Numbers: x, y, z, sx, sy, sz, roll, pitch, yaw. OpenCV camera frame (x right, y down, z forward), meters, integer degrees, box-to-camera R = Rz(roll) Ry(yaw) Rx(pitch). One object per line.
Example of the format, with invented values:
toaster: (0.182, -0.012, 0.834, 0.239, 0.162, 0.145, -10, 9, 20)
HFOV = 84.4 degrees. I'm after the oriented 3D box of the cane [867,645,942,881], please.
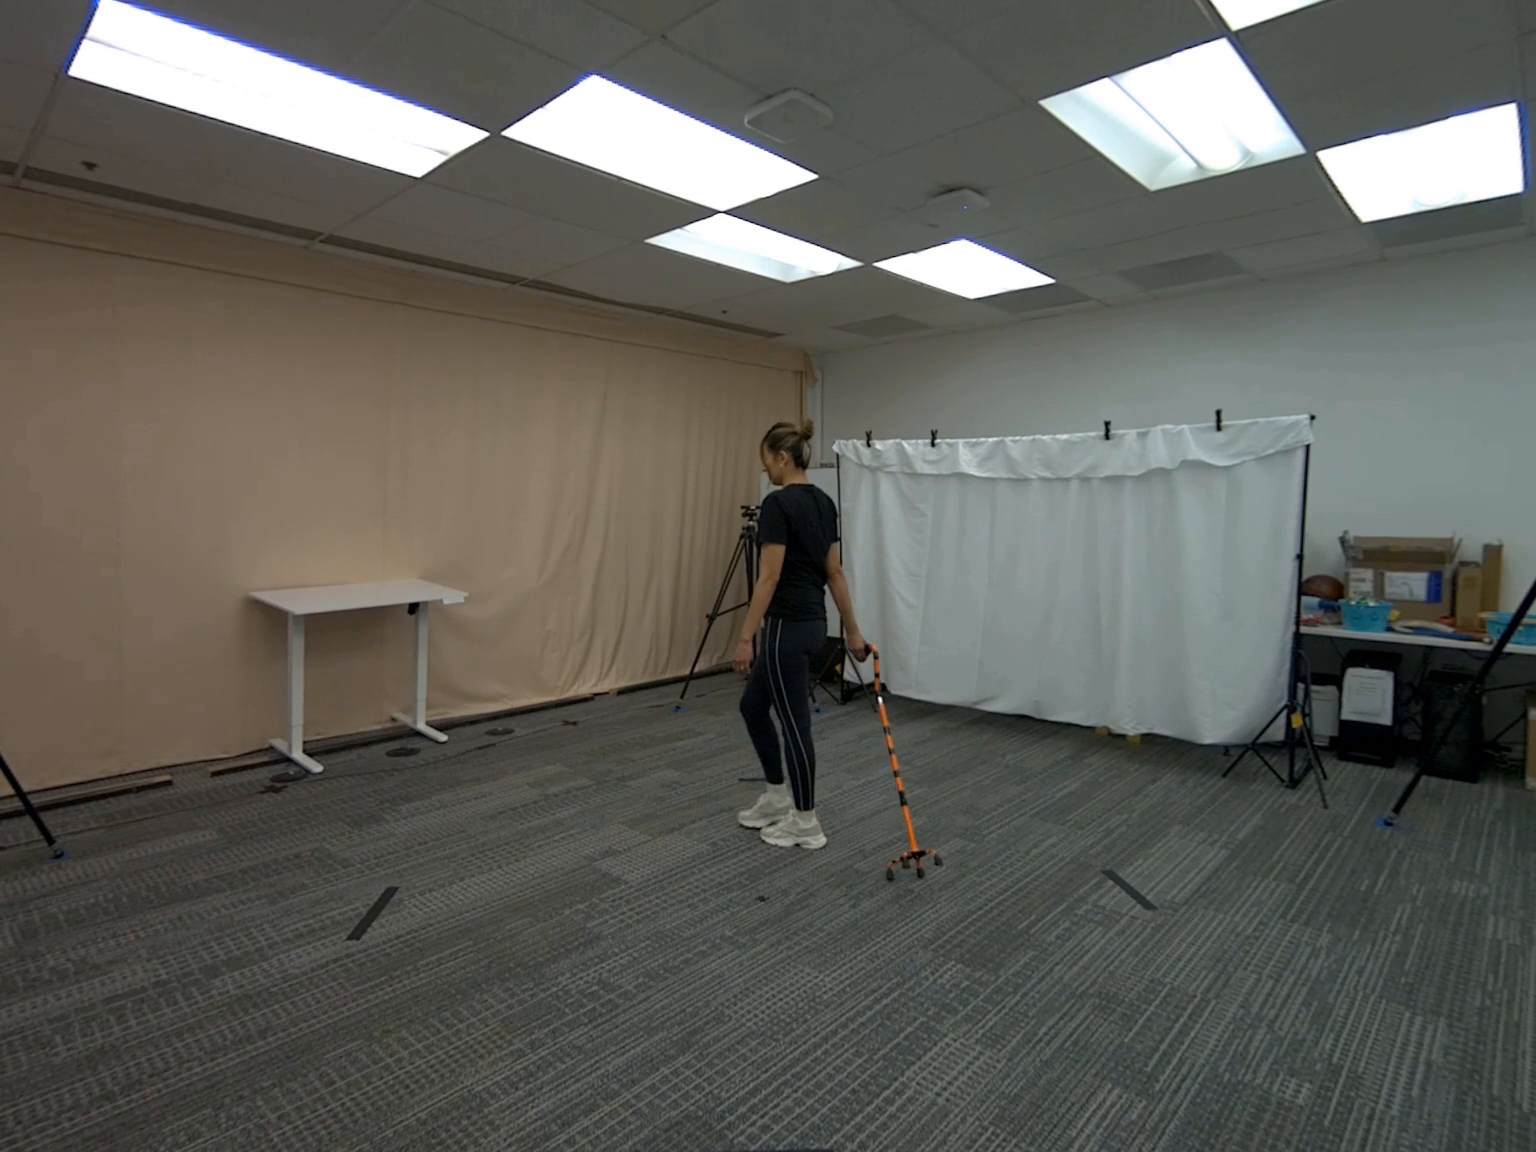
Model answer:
cane: (0.483, 0.688, 3.295, 0.150, 0.926, 0.205, 1, -32, -13)
